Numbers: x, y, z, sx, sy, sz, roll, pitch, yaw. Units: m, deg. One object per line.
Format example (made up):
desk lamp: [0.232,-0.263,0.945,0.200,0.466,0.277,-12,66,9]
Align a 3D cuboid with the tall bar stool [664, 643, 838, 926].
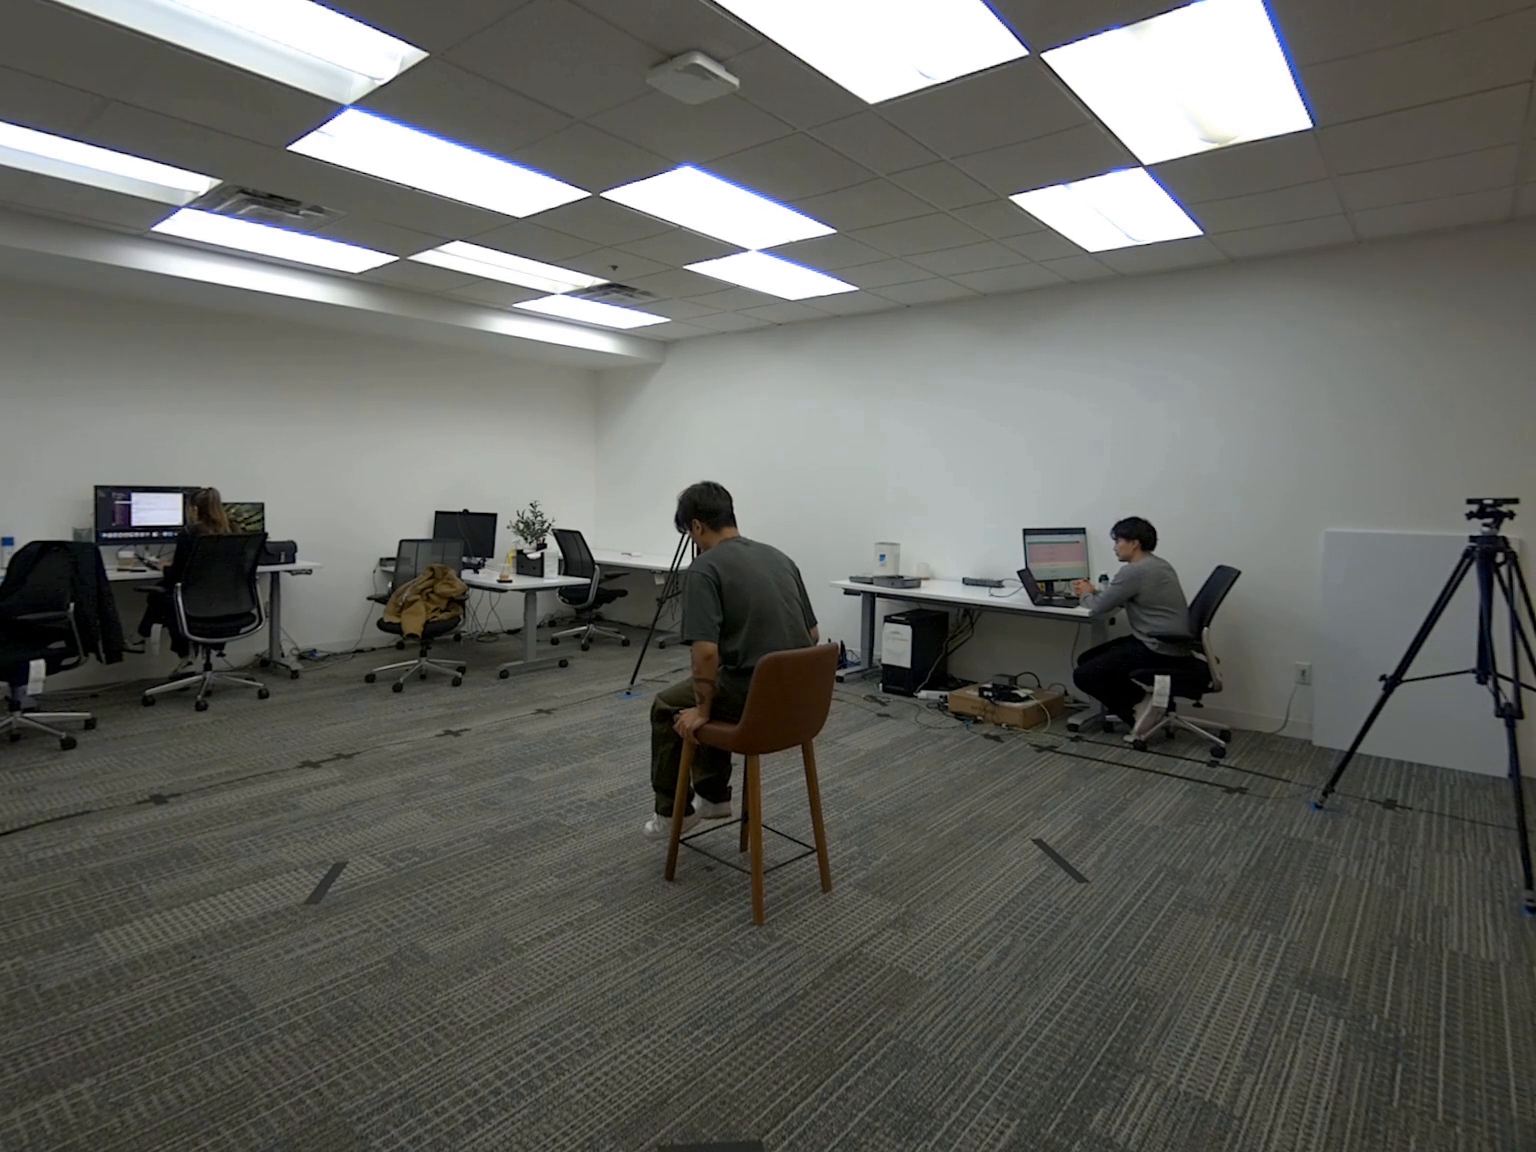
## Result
tall bar stool: [-0.051,0.648,2.957,0.484,0.886,0.442,8,7,44]
